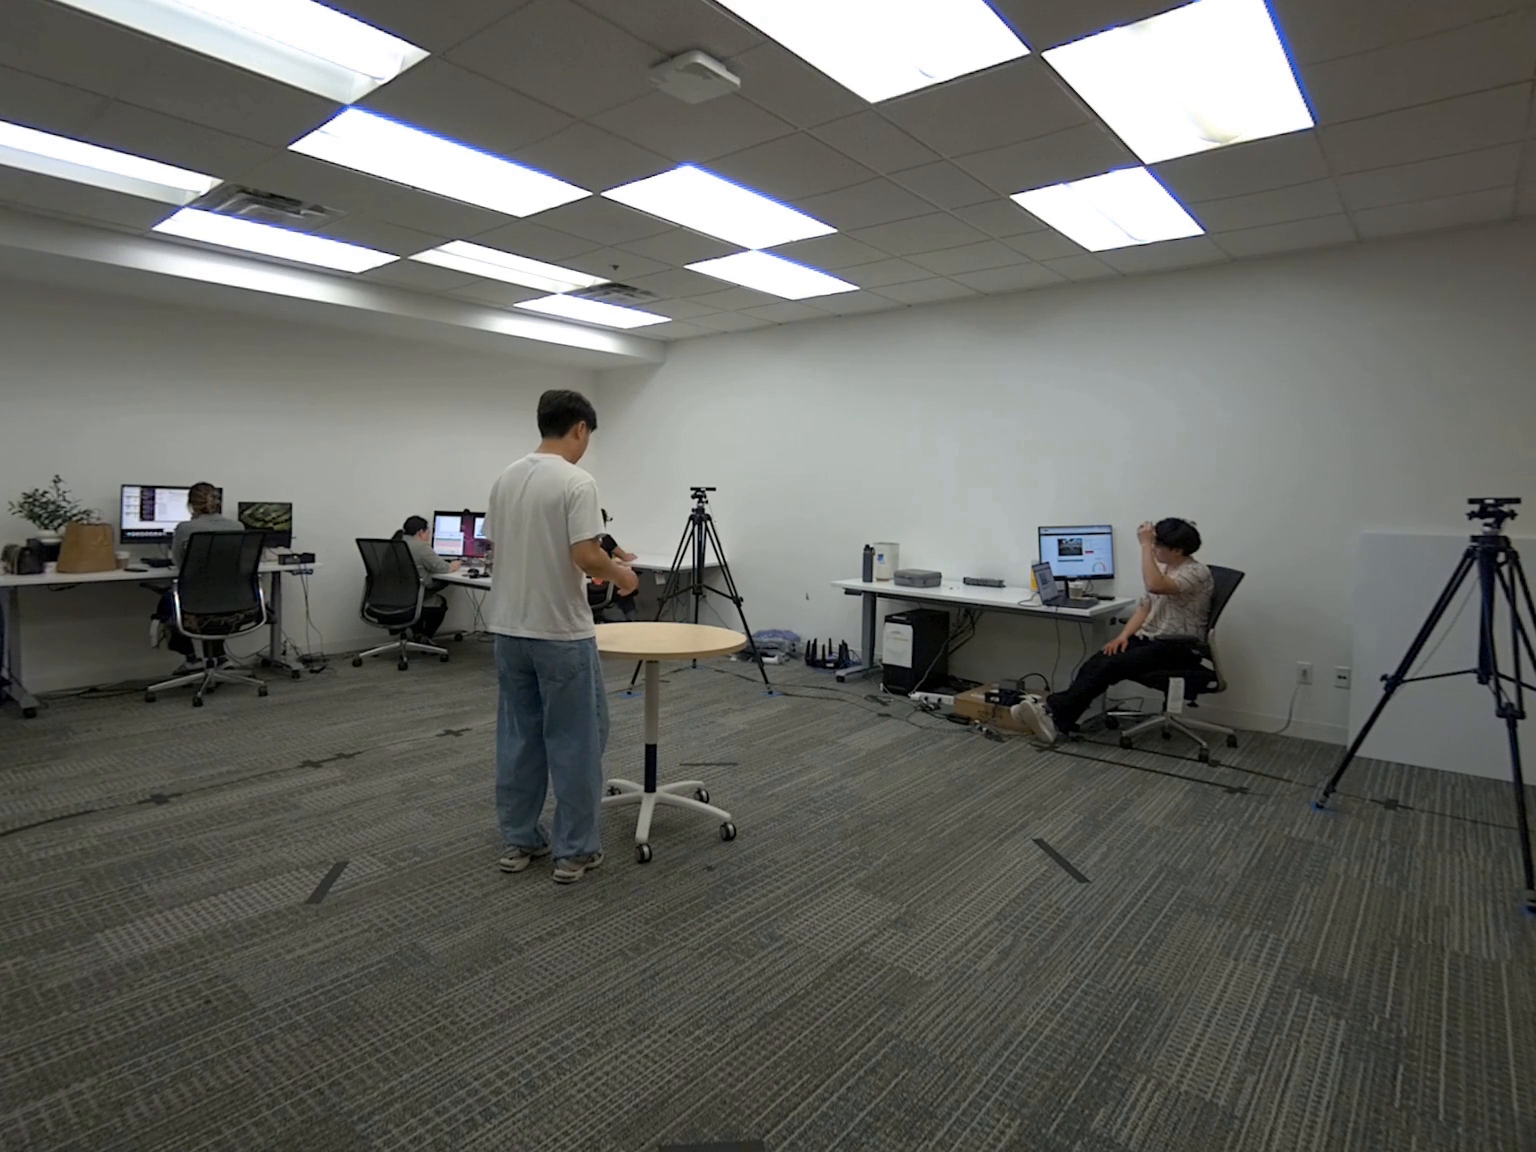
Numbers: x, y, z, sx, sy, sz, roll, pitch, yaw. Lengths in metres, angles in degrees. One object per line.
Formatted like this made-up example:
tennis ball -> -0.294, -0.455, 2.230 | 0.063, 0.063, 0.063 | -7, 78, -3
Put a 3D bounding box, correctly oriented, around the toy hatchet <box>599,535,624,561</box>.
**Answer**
toy hatchet -> -0.709, -0.029, 3.408 | 0.030, 0.129, 0.268 | 15, 23, 18
